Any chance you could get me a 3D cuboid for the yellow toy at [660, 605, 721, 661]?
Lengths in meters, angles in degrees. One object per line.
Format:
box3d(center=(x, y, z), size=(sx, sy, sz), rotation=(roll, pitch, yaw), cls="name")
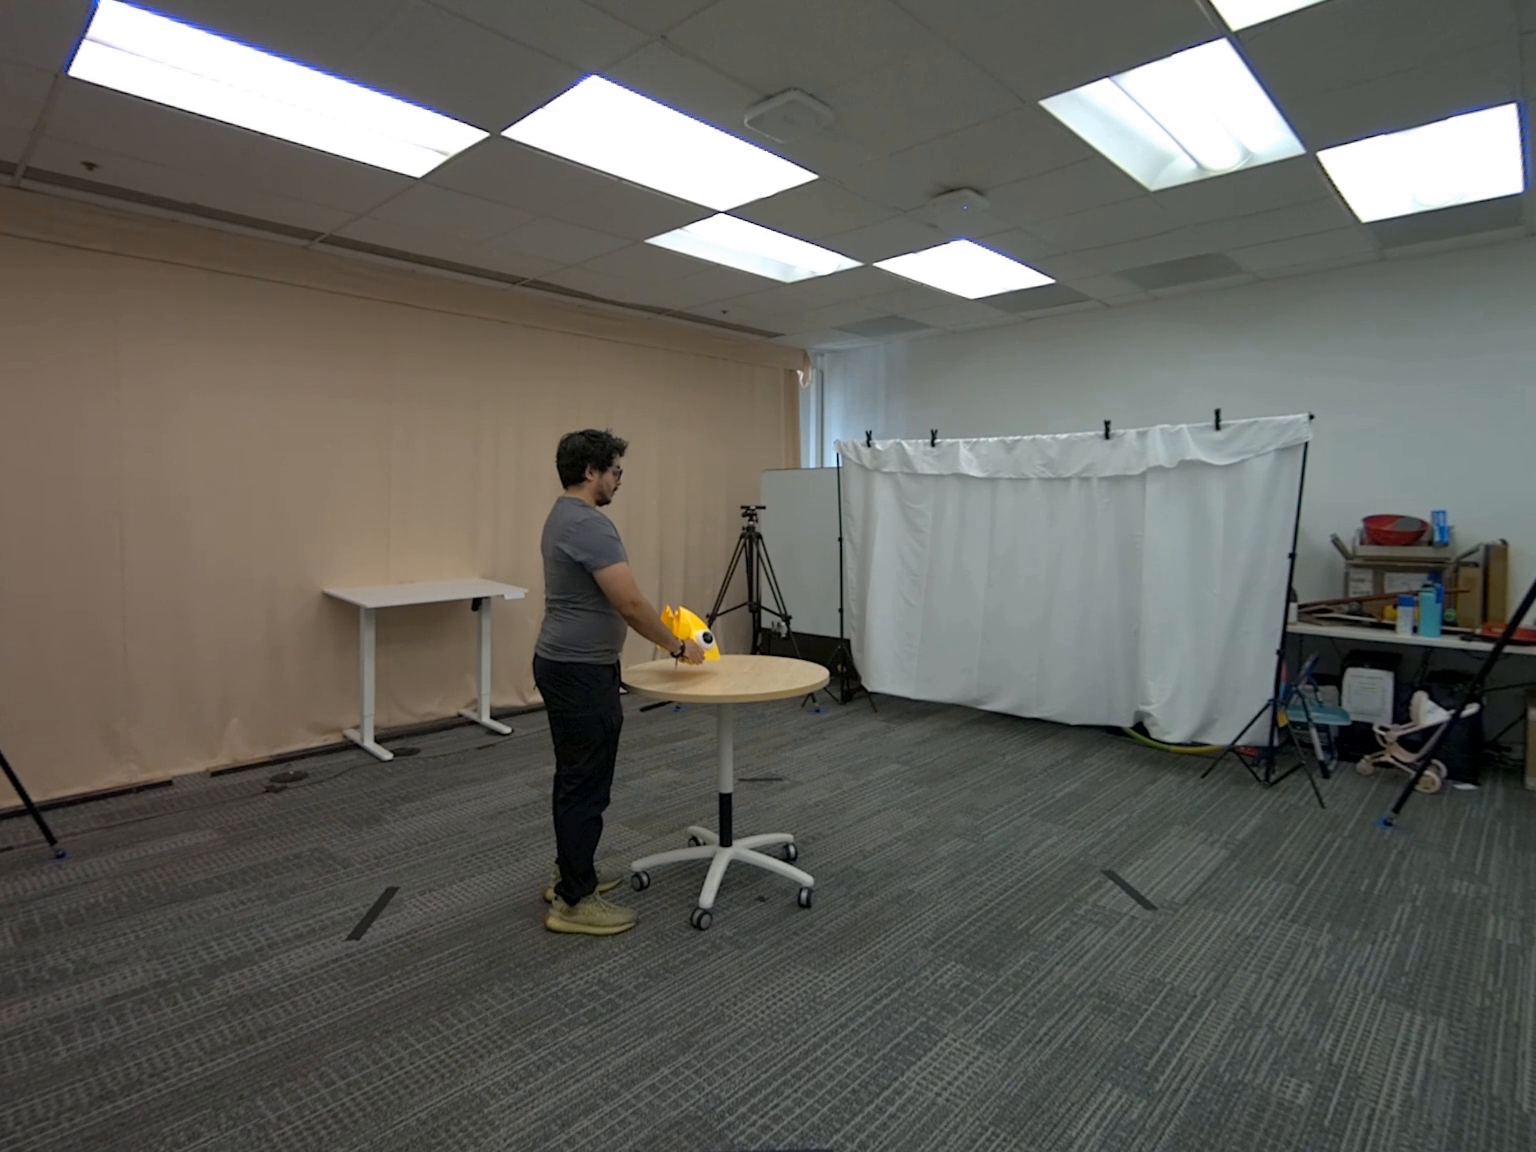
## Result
box3d(center=(-0.263, 0.226, 3.047), size=(0.225, 0.193, 0.210), rotation=(15, -4, -23), cls="yellow toy")
